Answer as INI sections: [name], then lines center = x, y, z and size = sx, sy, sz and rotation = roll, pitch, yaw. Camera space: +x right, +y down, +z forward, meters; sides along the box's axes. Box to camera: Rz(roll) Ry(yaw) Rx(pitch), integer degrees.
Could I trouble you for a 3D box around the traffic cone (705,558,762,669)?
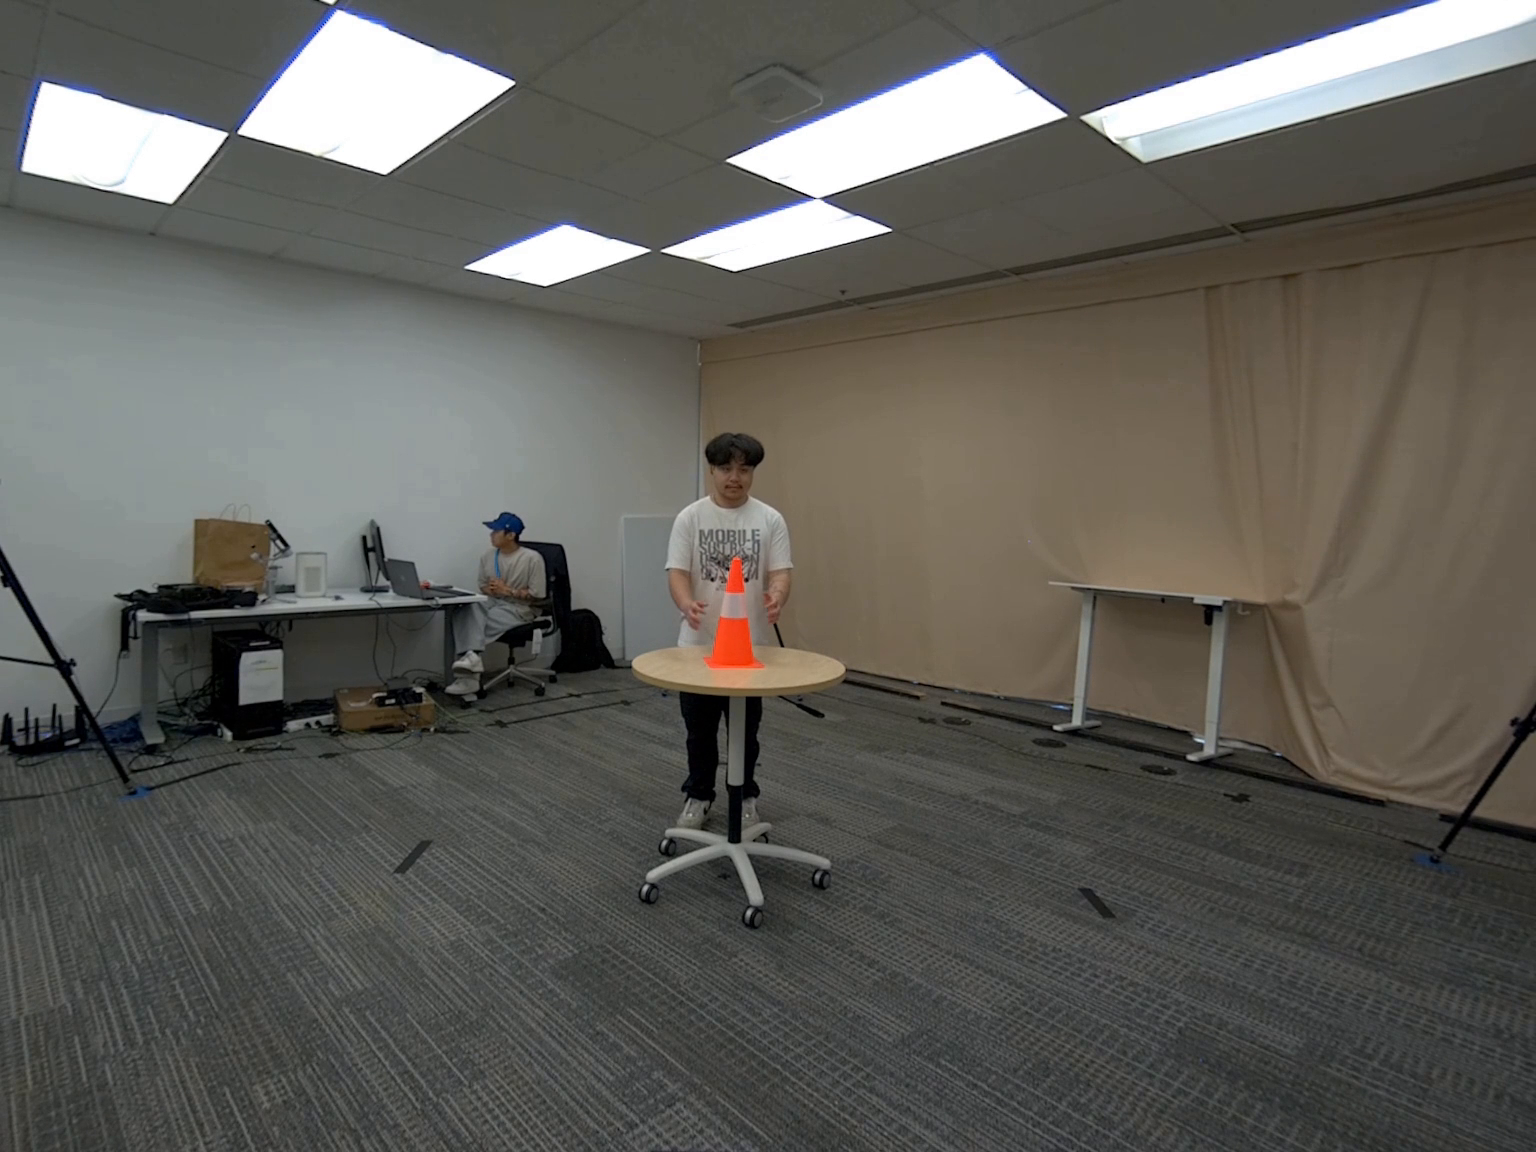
[traffic cone]
center = -0.128, 0.128, 3.046
size = 0.210, 0.382, 0.199
rotation = 5, 5, 31
